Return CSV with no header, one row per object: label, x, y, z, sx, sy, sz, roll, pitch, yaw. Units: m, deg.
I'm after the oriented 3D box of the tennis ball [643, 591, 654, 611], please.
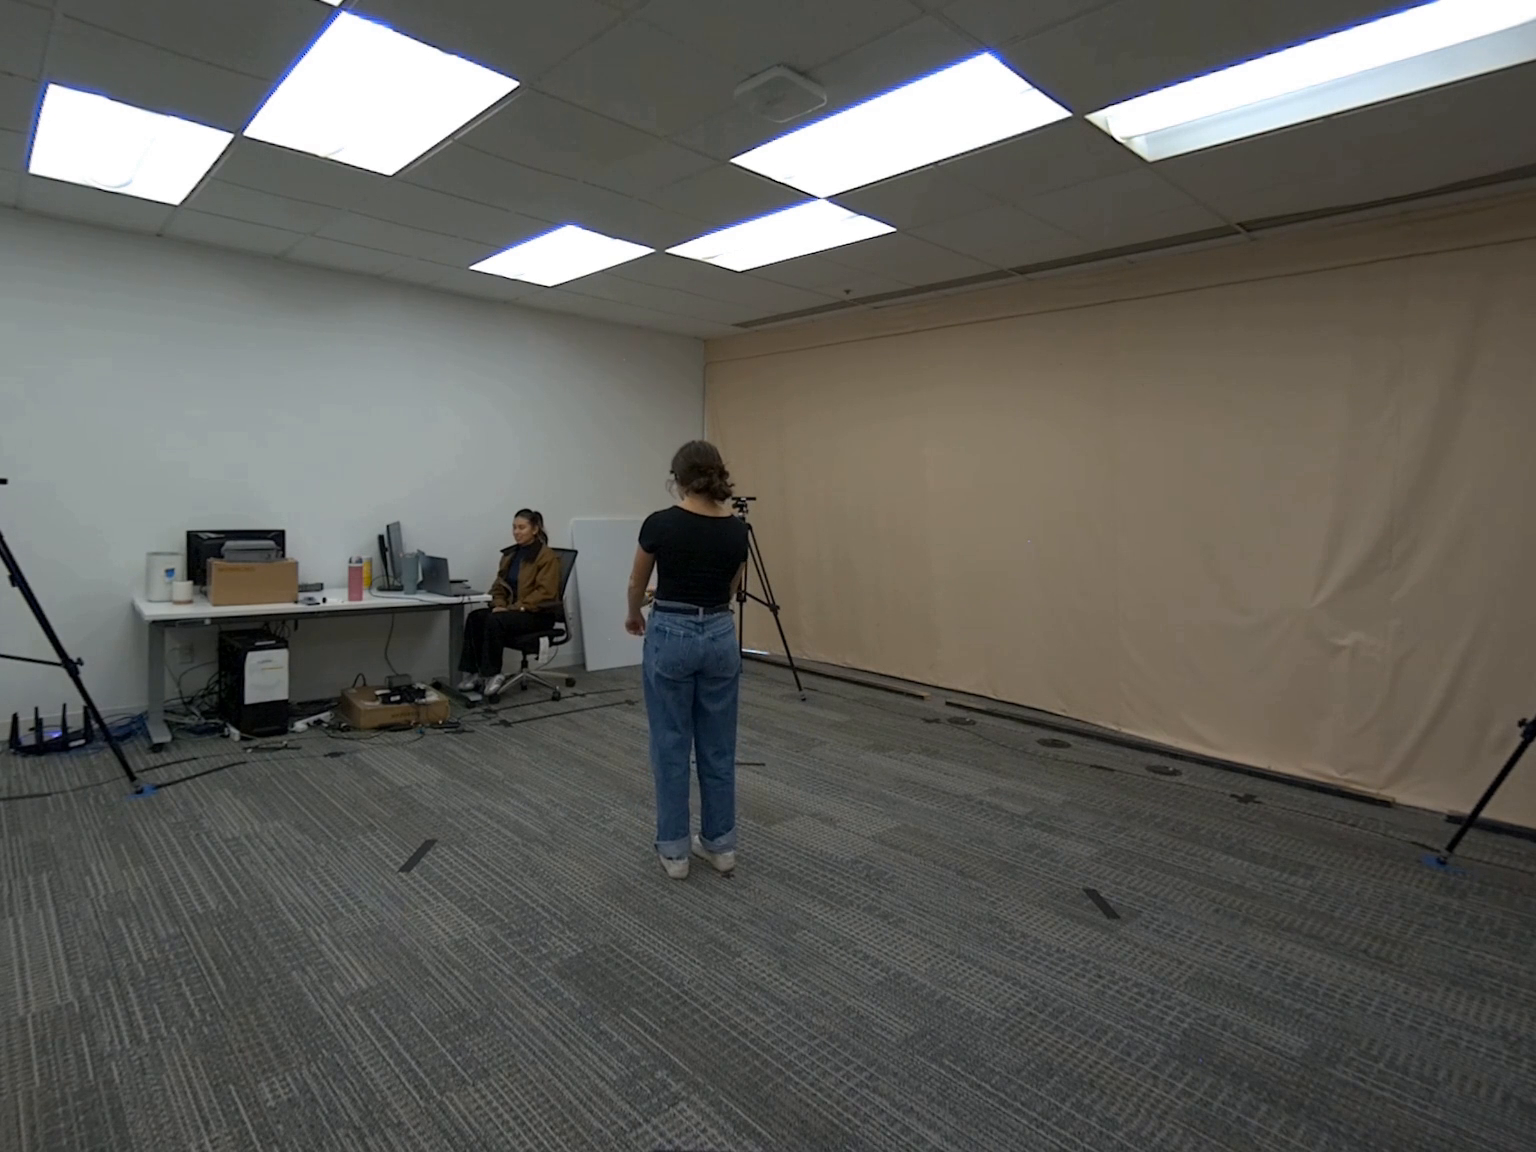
tennis ball,-0.473,0.099,3.384,0.066,0.066,0.067,1,4,-1
